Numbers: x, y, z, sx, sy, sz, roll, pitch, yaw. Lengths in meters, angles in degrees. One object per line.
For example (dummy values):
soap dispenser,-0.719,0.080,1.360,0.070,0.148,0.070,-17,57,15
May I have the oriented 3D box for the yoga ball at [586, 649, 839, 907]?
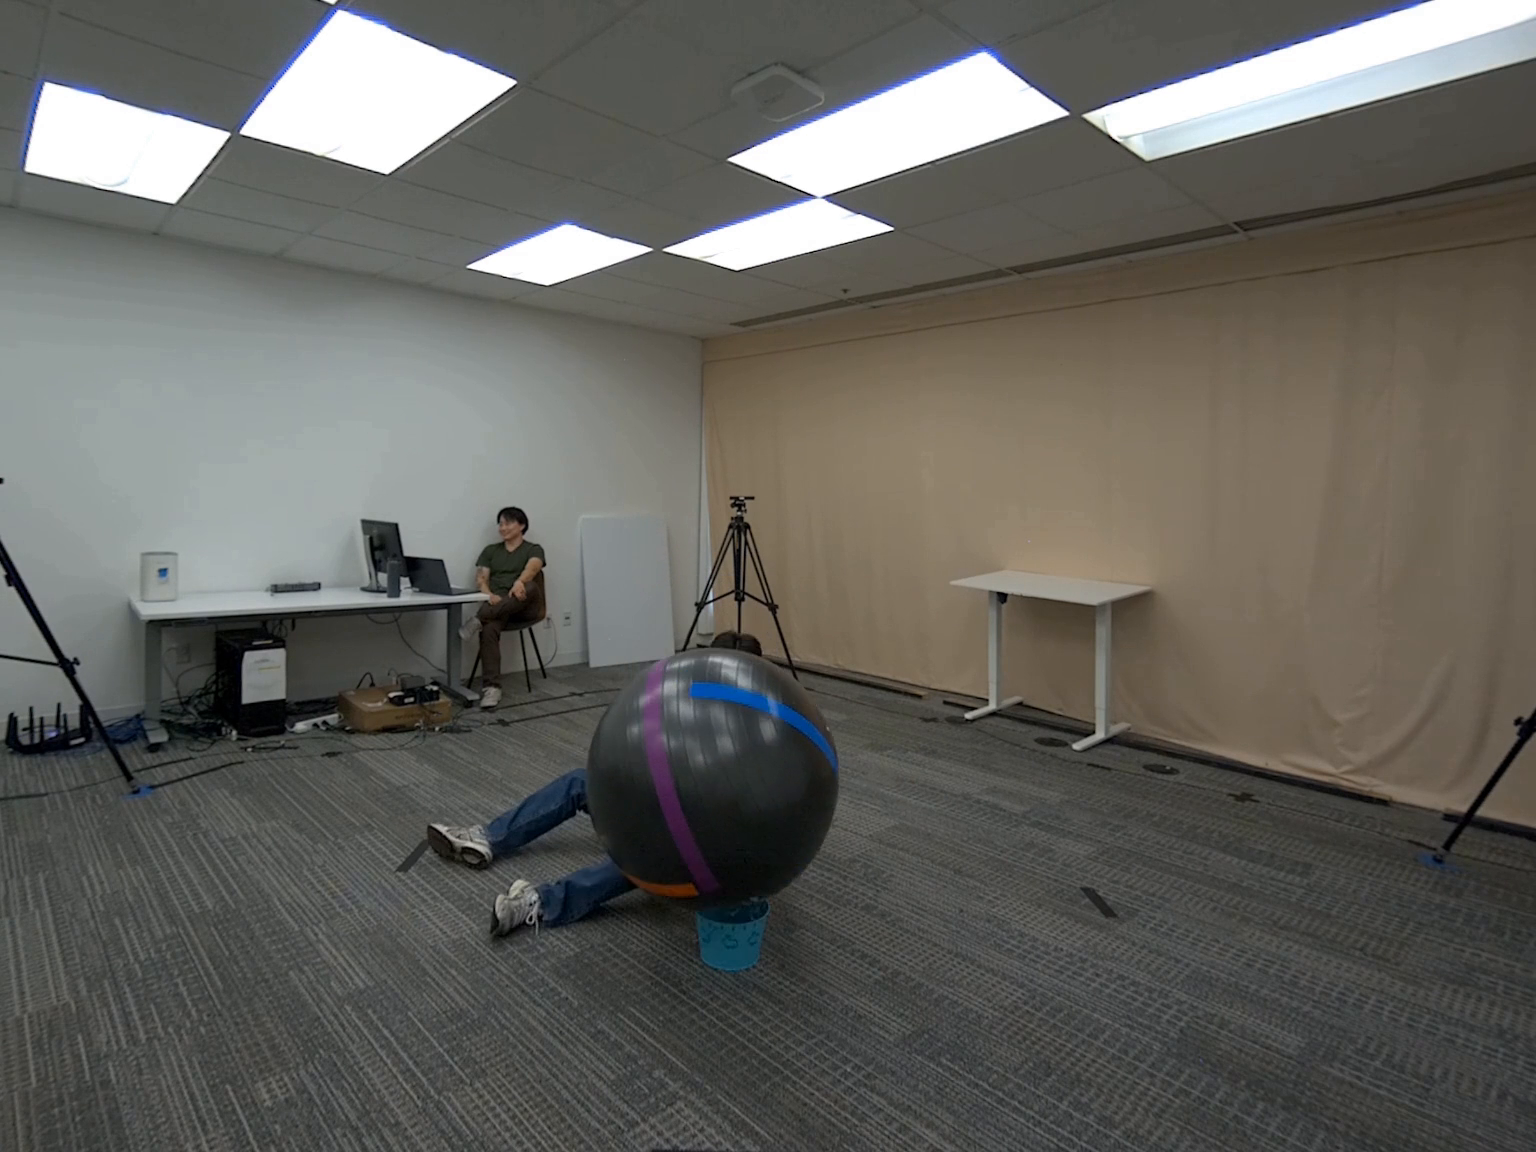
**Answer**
yoga ball,-0.173,0.595,2.548,0.757,0.756,0.761,1,4,-1
